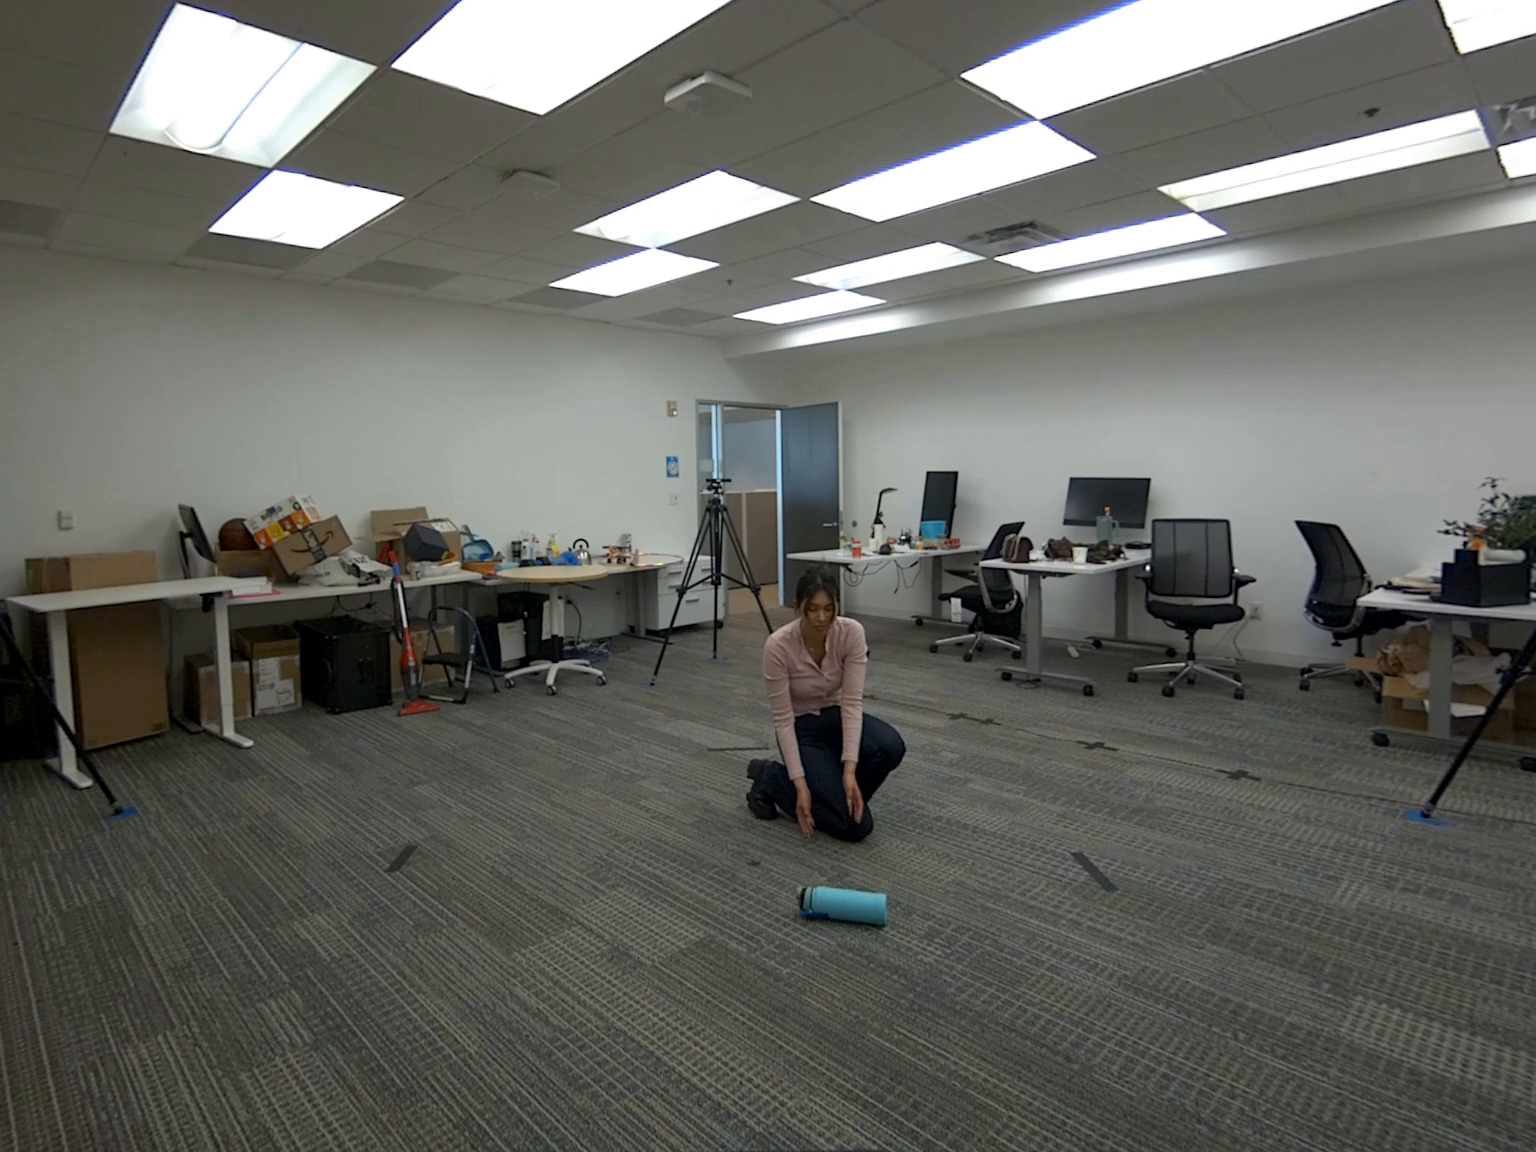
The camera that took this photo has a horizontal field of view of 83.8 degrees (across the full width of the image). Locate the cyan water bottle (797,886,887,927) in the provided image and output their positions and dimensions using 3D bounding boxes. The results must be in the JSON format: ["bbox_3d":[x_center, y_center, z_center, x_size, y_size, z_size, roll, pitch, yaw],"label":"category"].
[{"bbox_3d":[0.238,1.043,2.702,0.287,0.092,0.091,0,5,13],"label":"cyan water bottle"}]
